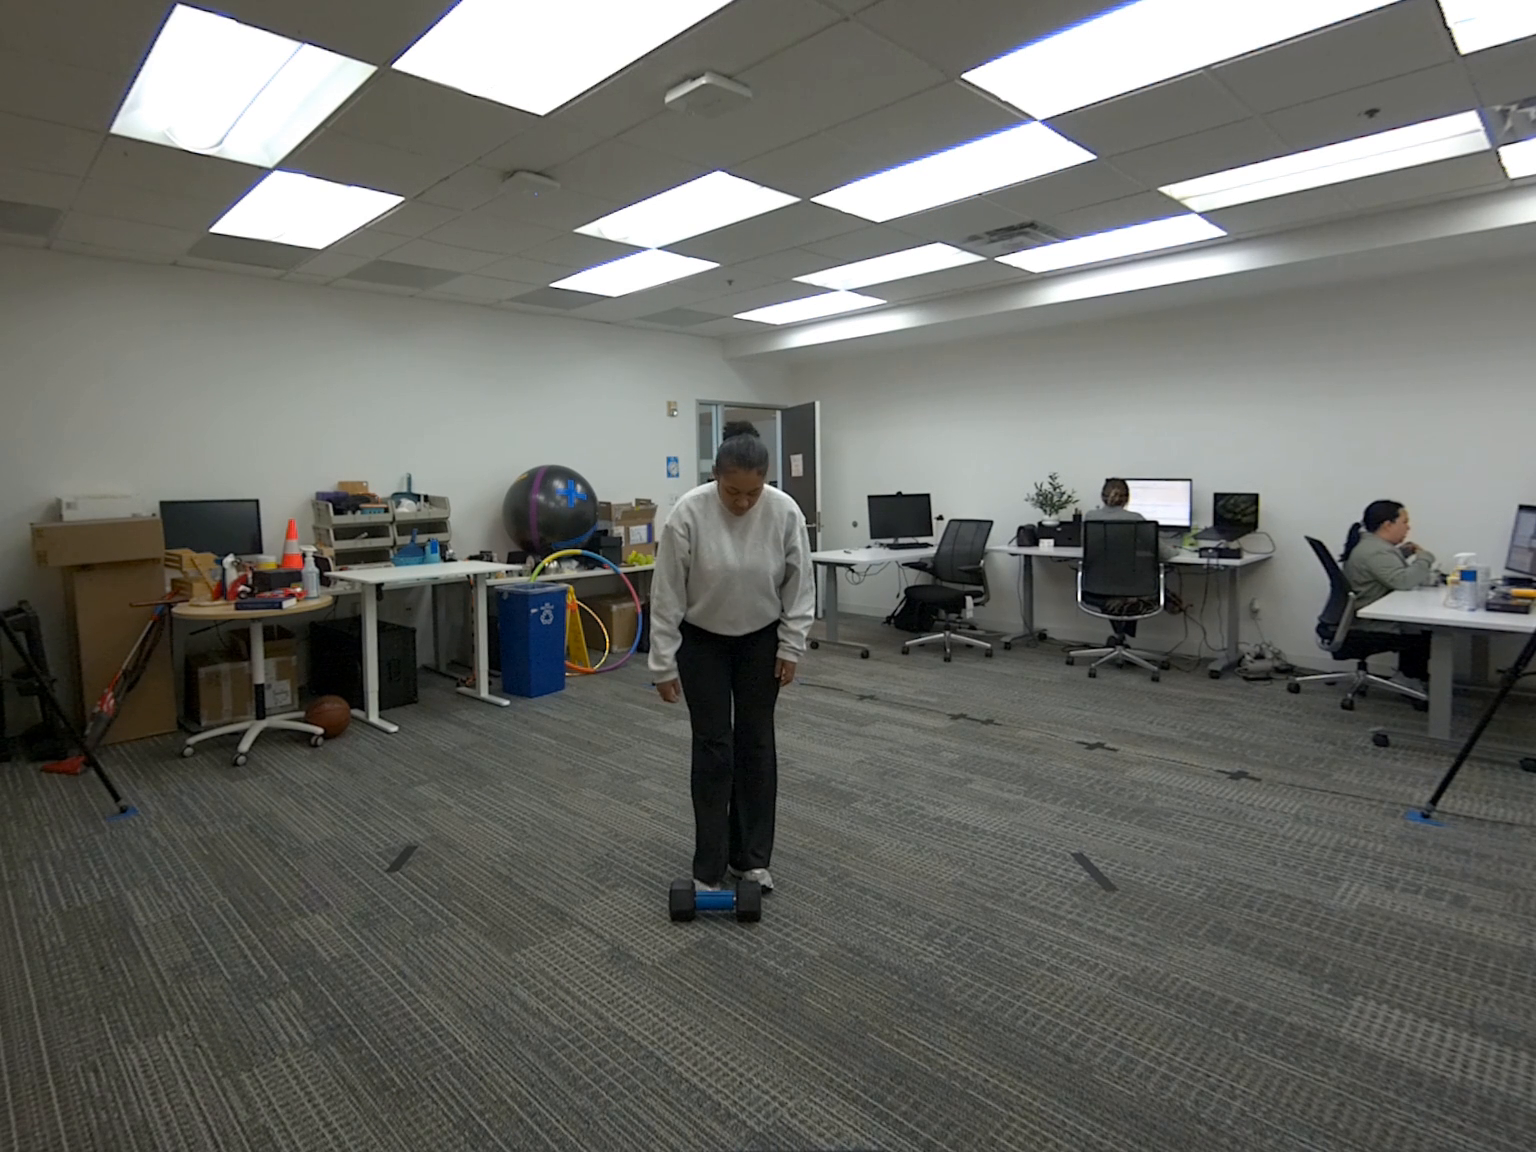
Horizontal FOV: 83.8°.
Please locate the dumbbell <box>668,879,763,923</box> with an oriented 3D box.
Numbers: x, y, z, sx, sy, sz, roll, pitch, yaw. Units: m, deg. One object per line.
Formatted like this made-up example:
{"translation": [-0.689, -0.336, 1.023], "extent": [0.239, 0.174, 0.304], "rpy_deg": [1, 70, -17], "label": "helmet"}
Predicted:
{"translation": [-0.167, 1.044, 2.733], "extent": [0.294, 0.125, 0.106], "rpy_deg": [-1, -26, 2], "label": "dumbbell"}
